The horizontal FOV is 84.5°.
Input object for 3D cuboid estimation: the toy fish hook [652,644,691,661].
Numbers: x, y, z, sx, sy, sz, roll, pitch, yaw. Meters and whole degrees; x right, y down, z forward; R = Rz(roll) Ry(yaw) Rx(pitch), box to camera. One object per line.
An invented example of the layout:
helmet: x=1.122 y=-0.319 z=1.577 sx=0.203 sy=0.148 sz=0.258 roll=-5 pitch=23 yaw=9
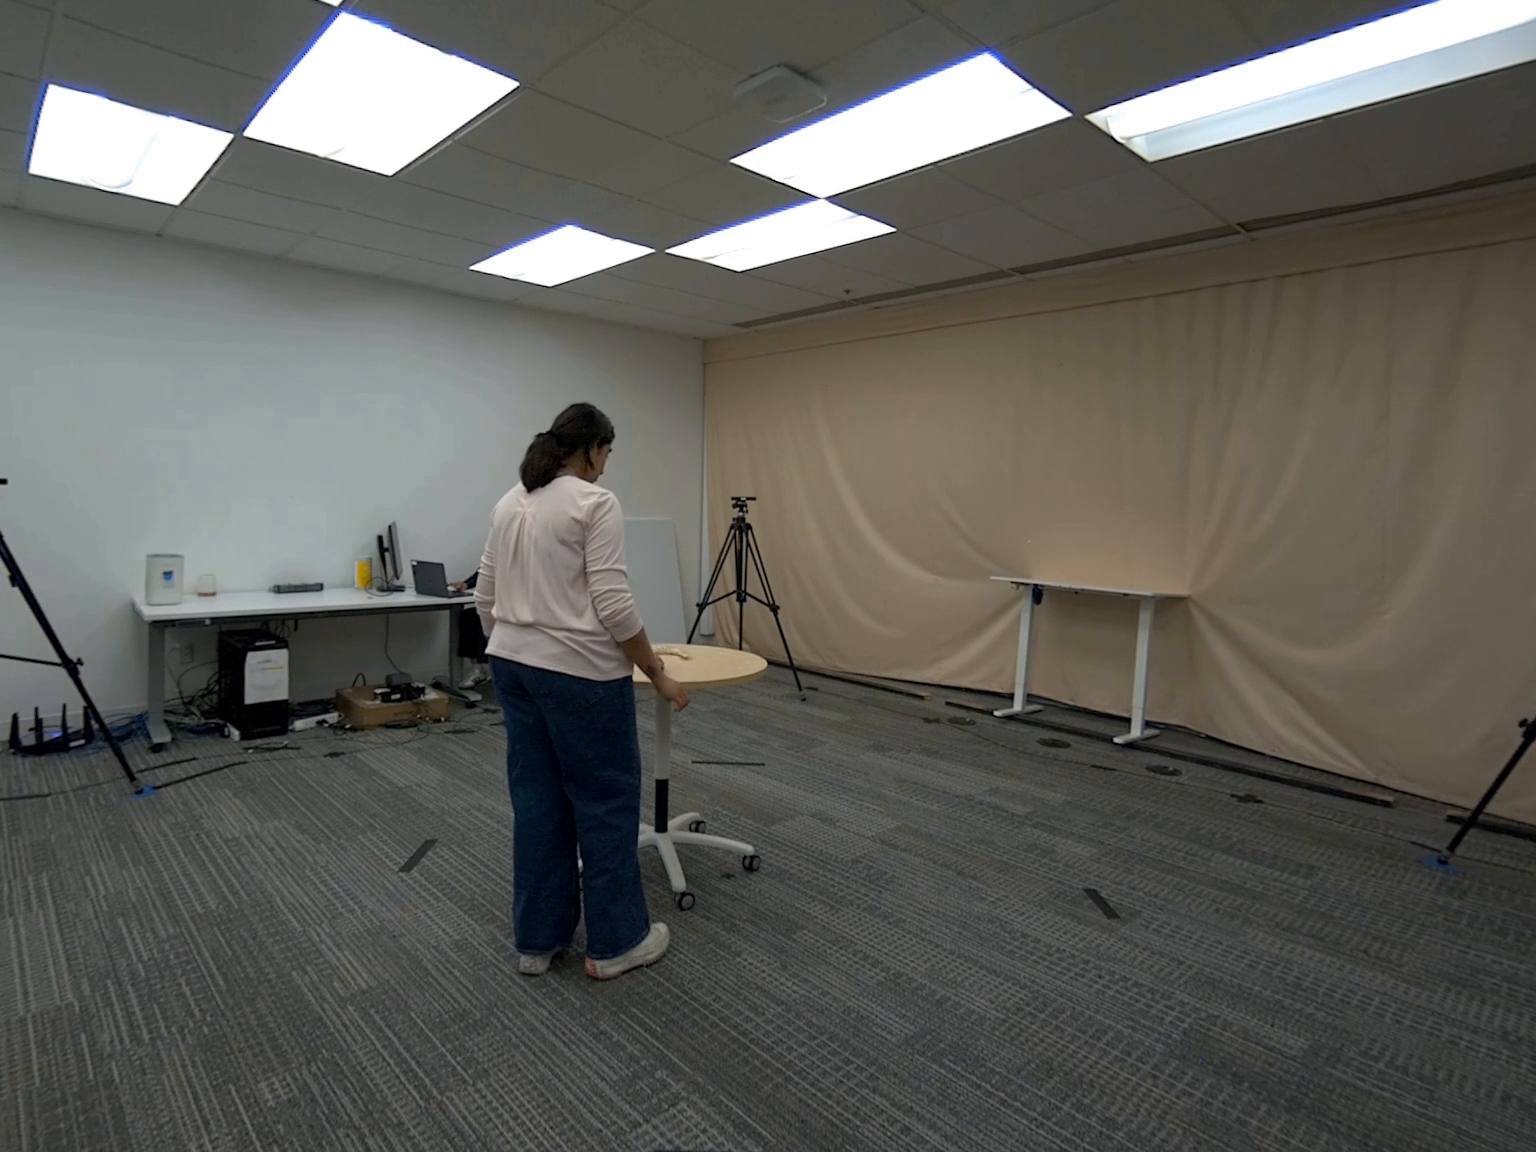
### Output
toy fish hook: x=-0.384 y=0.305 z=3.056 sx=0.223 sy=0.048 sz=0.512 roll=-1 pitch=5 yaw=-12
